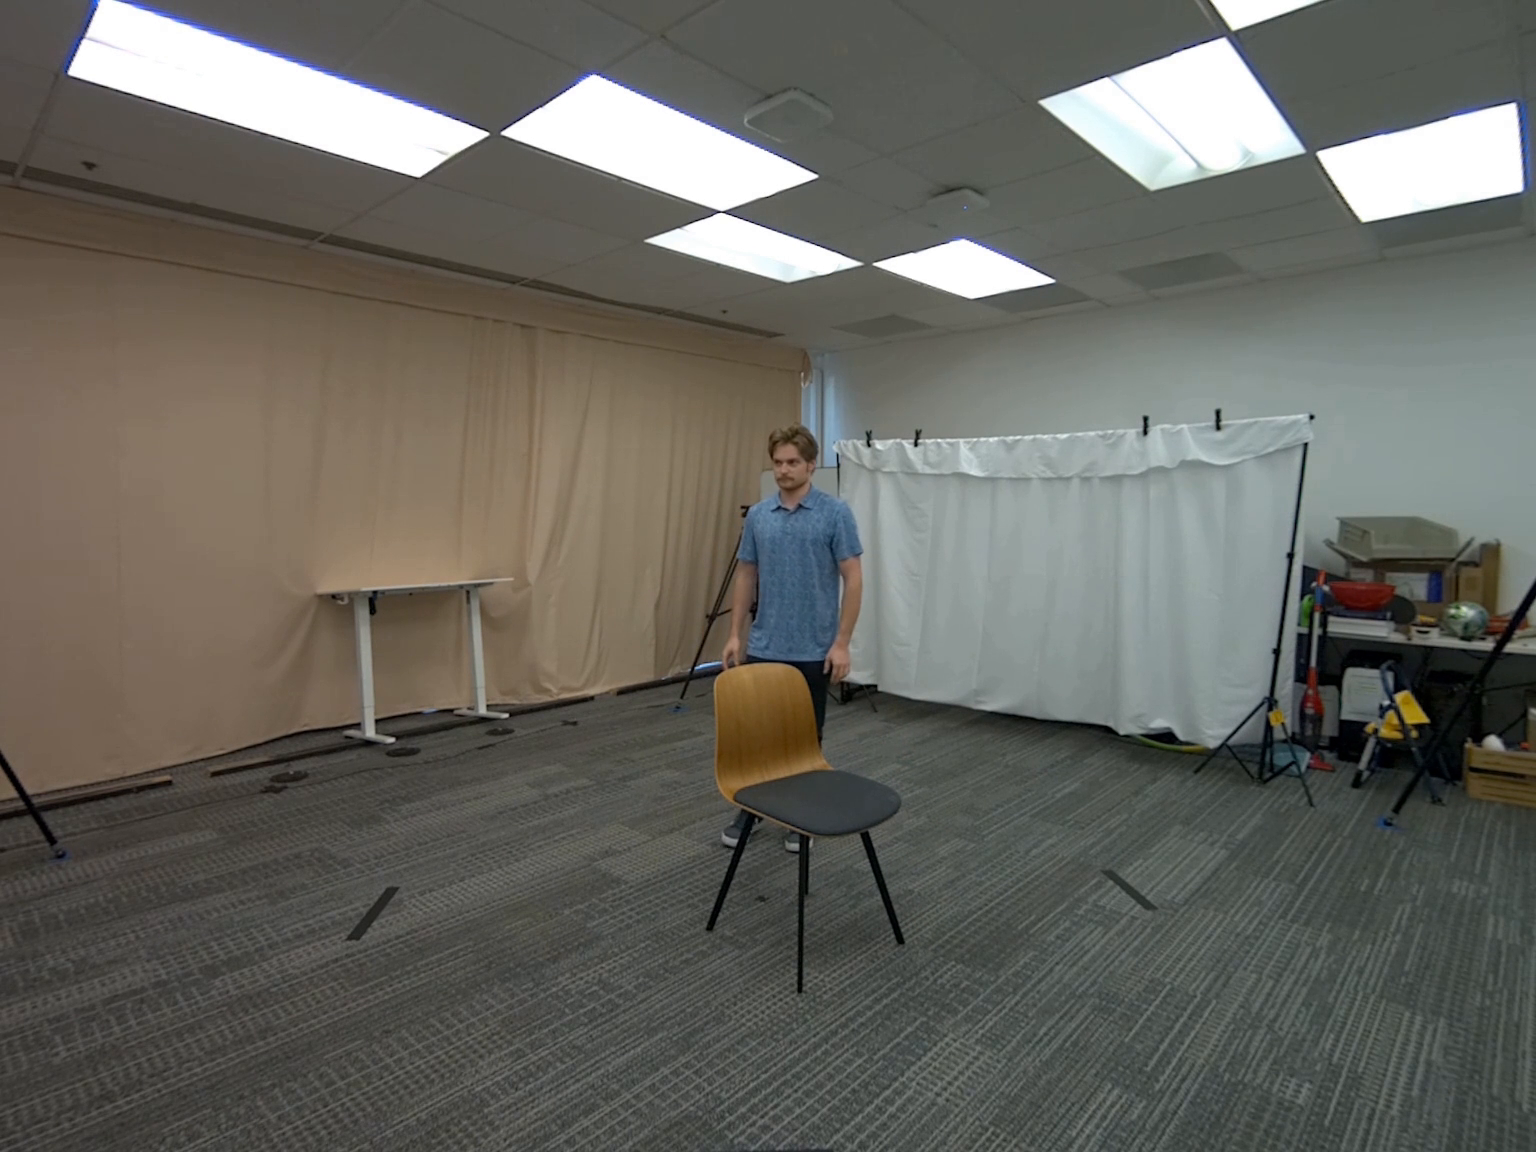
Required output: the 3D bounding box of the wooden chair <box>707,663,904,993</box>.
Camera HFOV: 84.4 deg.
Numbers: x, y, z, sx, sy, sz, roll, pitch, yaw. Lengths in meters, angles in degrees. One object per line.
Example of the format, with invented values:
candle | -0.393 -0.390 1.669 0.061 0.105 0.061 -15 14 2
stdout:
wooden chair | 0.119 0.739 2.682 0.464 0.878 0.539 -3 0 -39
